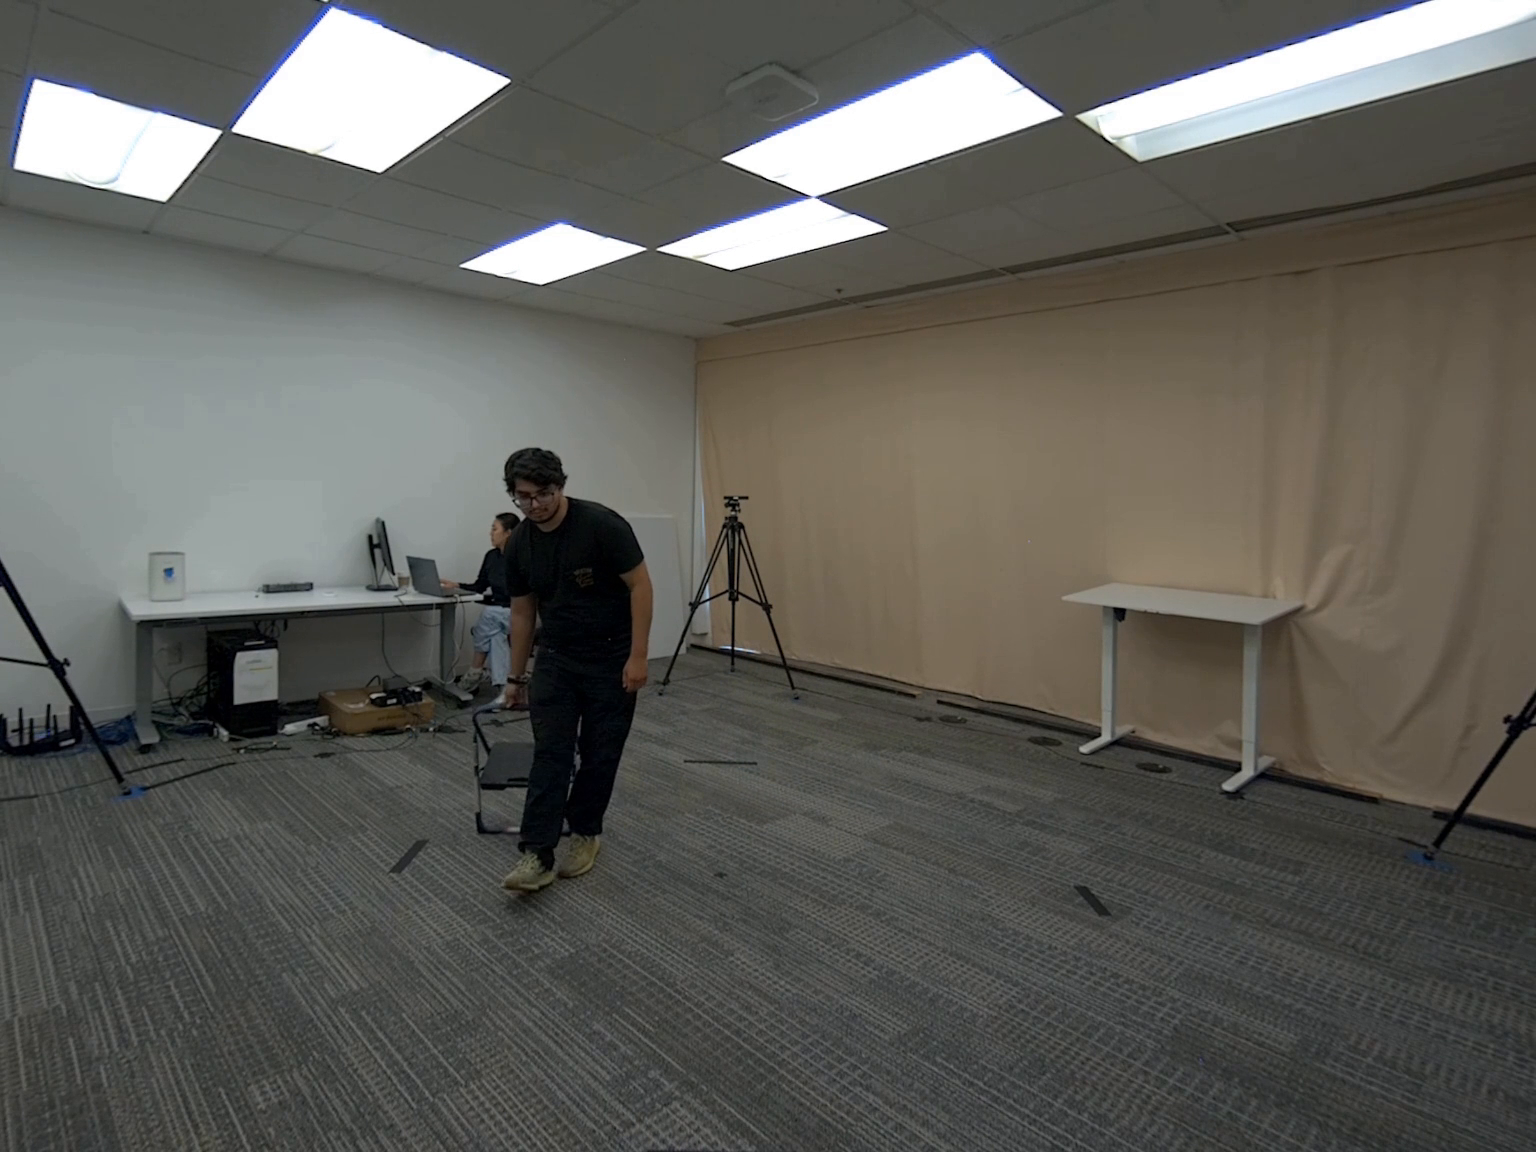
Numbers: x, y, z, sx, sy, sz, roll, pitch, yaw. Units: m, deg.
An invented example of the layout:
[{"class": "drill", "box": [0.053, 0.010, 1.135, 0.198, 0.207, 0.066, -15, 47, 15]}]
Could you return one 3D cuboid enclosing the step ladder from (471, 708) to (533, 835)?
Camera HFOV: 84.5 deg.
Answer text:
[{"class": "step ladder", "box": [-0.988, 0.719, 3.435, 0.431, 0.595, 0.356, 1, 30, 0]}]
